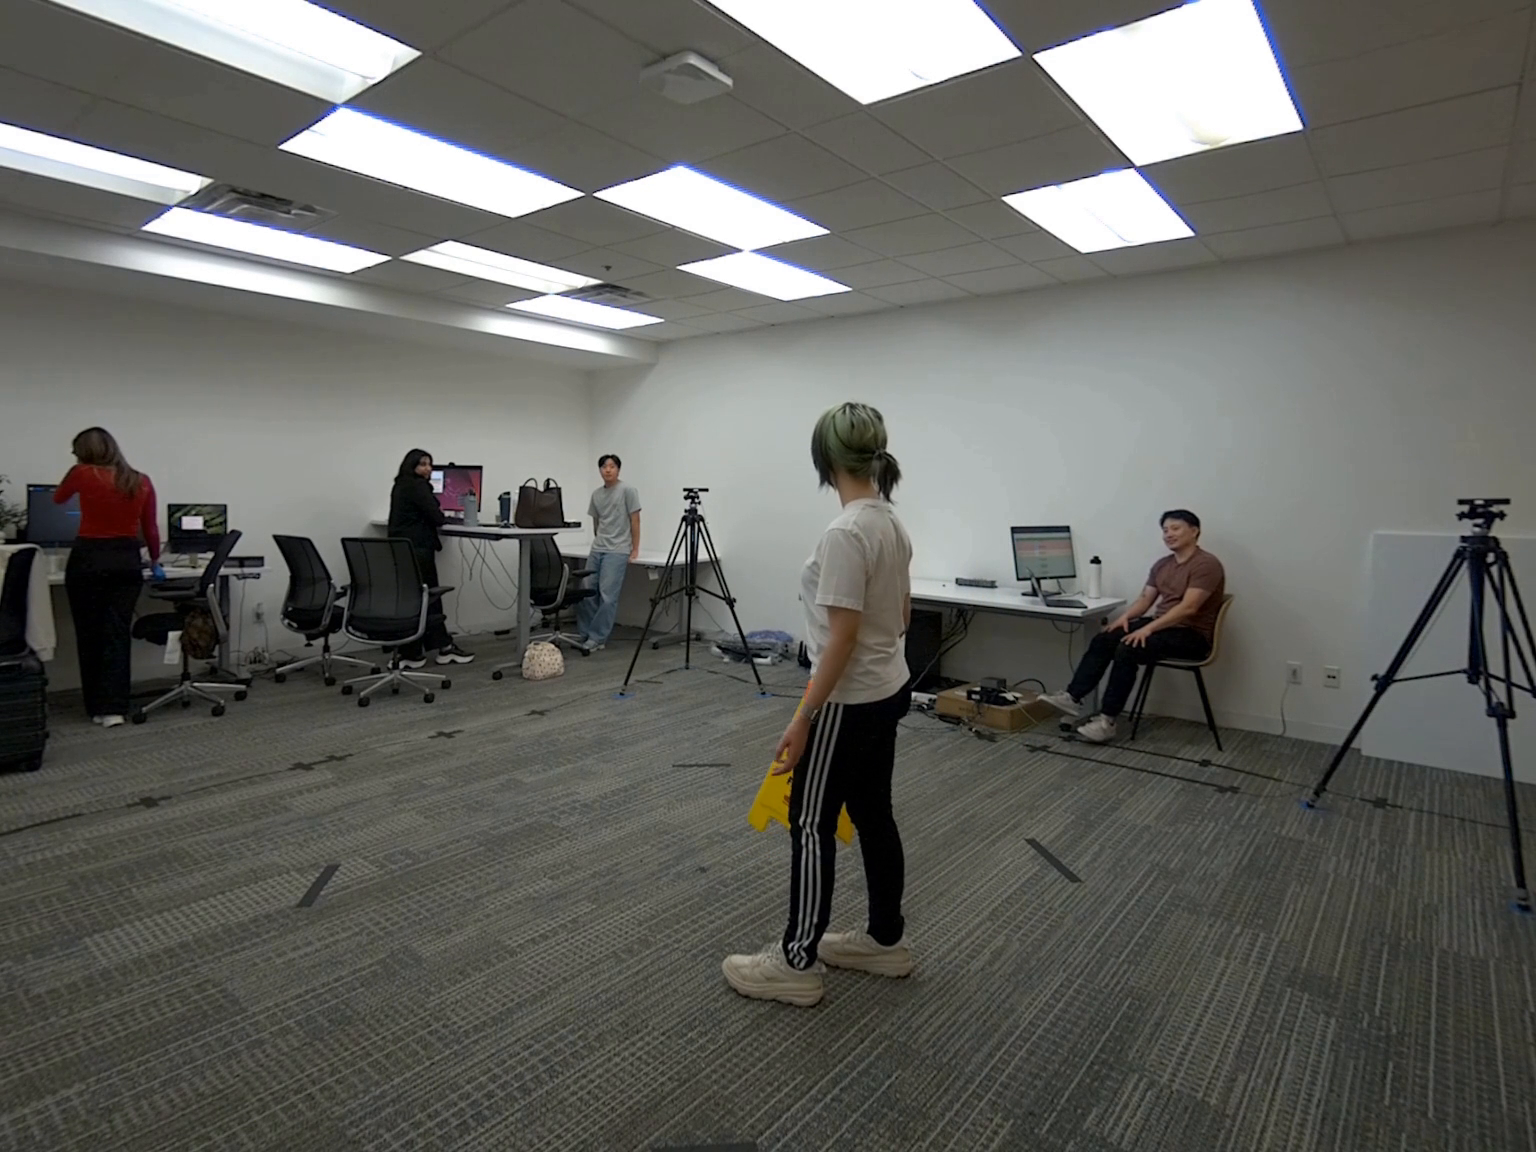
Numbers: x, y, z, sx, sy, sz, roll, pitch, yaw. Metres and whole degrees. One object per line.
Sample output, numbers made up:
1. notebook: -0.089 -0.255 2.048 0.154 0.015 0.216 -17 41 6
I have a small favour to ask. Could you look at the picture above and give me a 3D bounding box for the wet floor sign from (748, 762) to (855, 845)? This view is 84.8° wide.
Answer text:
1. wet floor sign: 0.171 0.583 2.824 0.294 0.638 0.282 28 22 36
